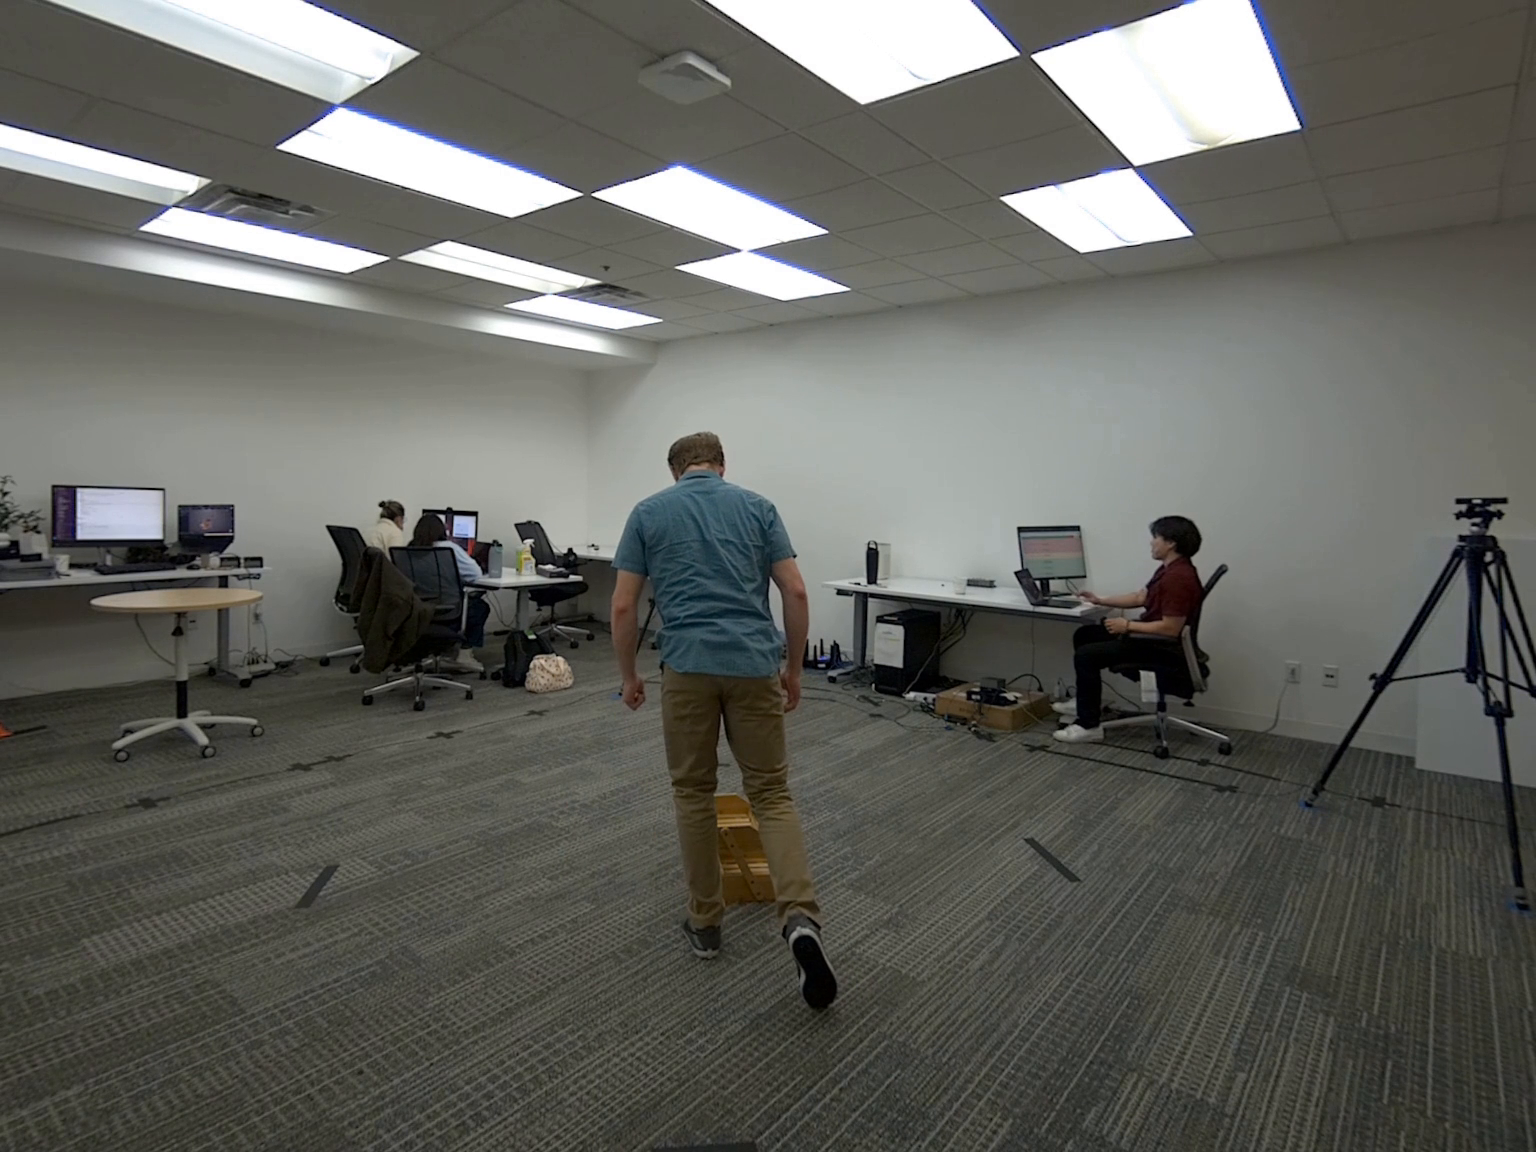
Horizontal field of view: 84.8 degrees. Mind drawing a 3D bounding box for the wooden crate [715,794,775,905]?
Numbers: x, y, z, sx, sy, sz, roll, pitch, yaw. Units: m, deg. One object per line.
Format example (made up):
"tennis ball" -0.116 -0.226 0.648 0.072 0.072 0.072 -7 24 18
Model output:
"wooden crate" -0.092 0.949 3.015 0.299 0.272 0.329 1 4 -11
